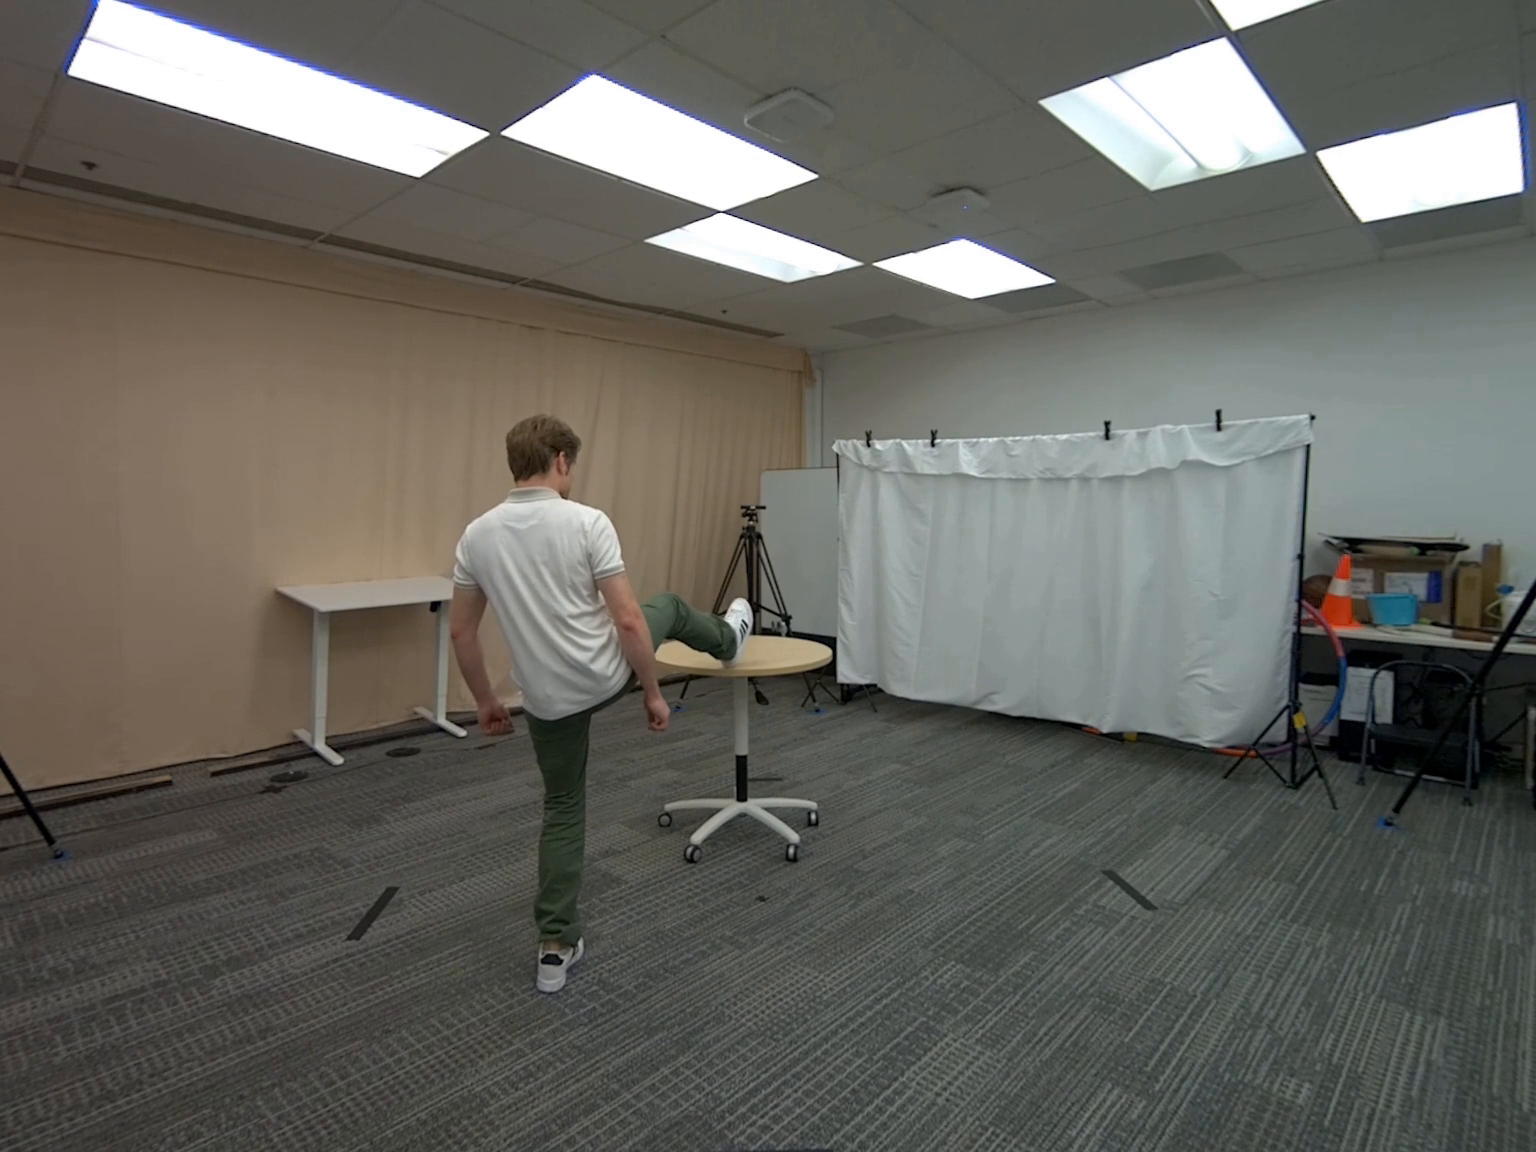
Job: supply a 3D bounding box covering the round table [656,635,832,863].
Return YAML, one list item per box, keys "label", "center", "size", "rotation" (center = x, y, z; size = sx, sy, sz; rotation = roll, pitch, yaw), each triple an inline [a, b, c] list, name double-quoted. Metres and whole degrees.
- label: "round table"
  center: [-0.106, 0.708, 3.564]
  size: [0.763, 0.792, 0.767]
  rotation: [0, 4, -2]
